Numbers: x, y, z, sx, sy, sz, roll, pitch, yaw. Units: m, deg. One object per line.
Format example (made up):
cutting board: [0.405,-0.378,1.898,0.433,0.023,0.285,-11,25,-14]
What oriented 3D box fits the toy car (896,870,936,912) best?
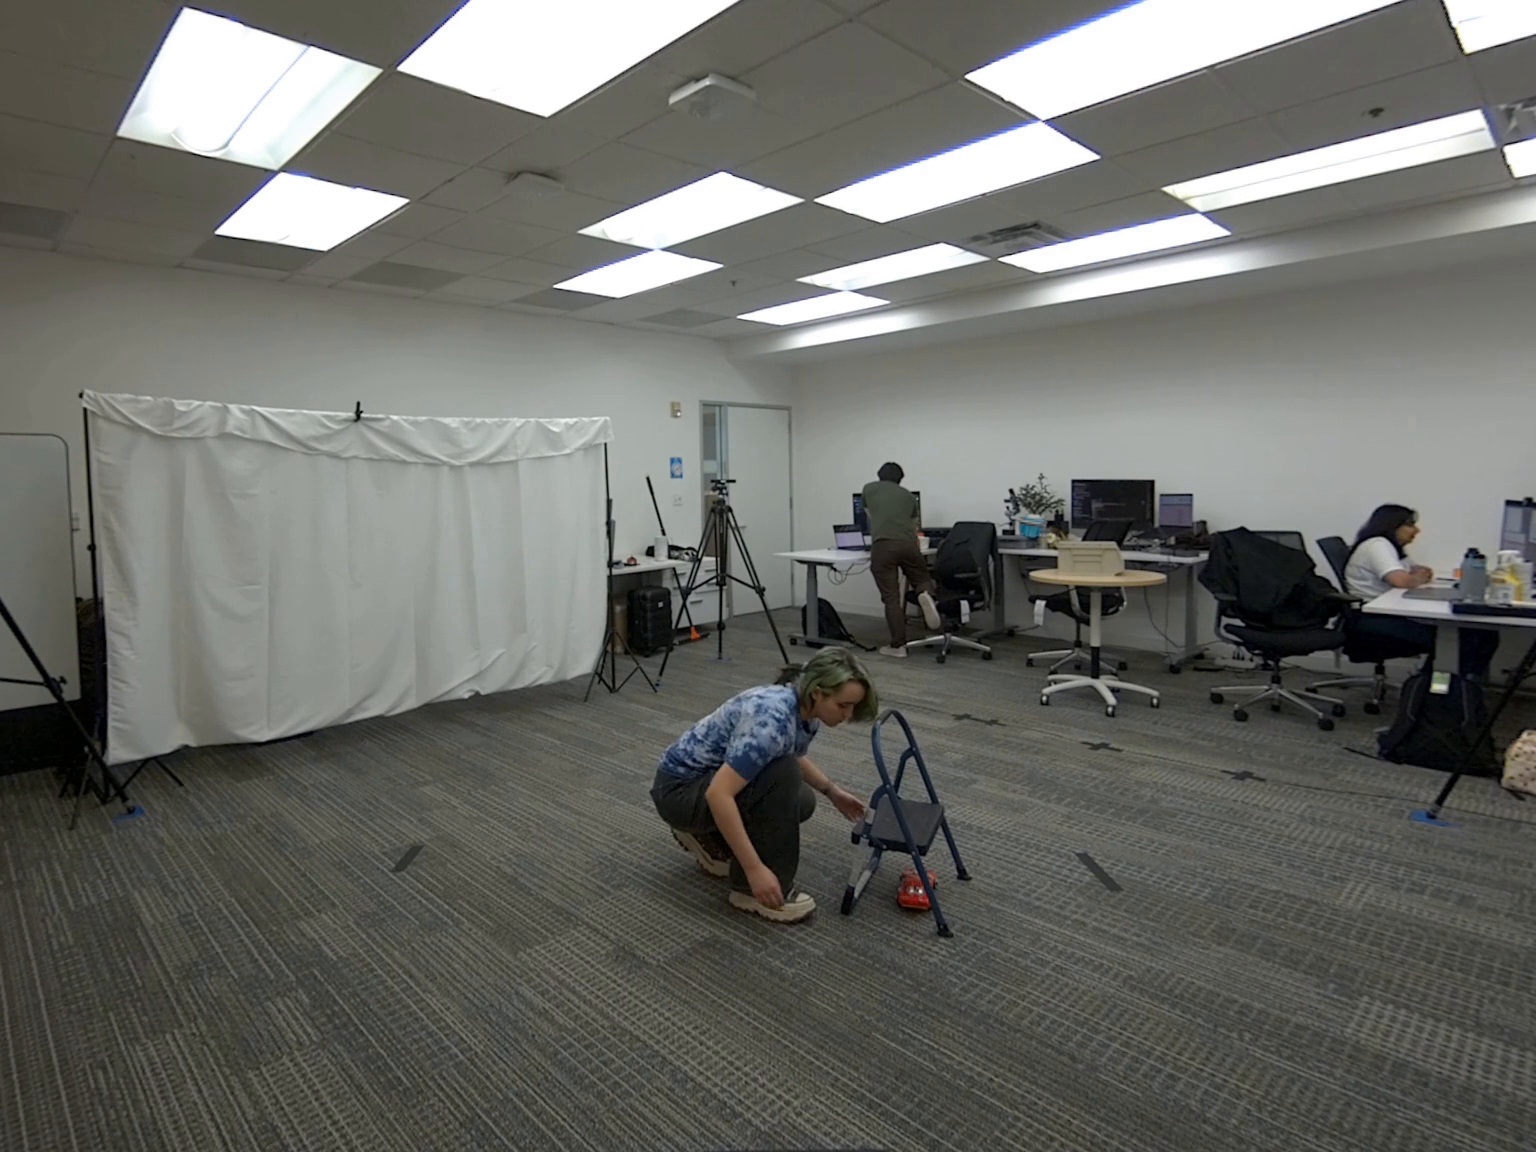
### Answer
toy car: [0.488,1.034,2.810,0.132,0.084,0.249,2,-6,14]
